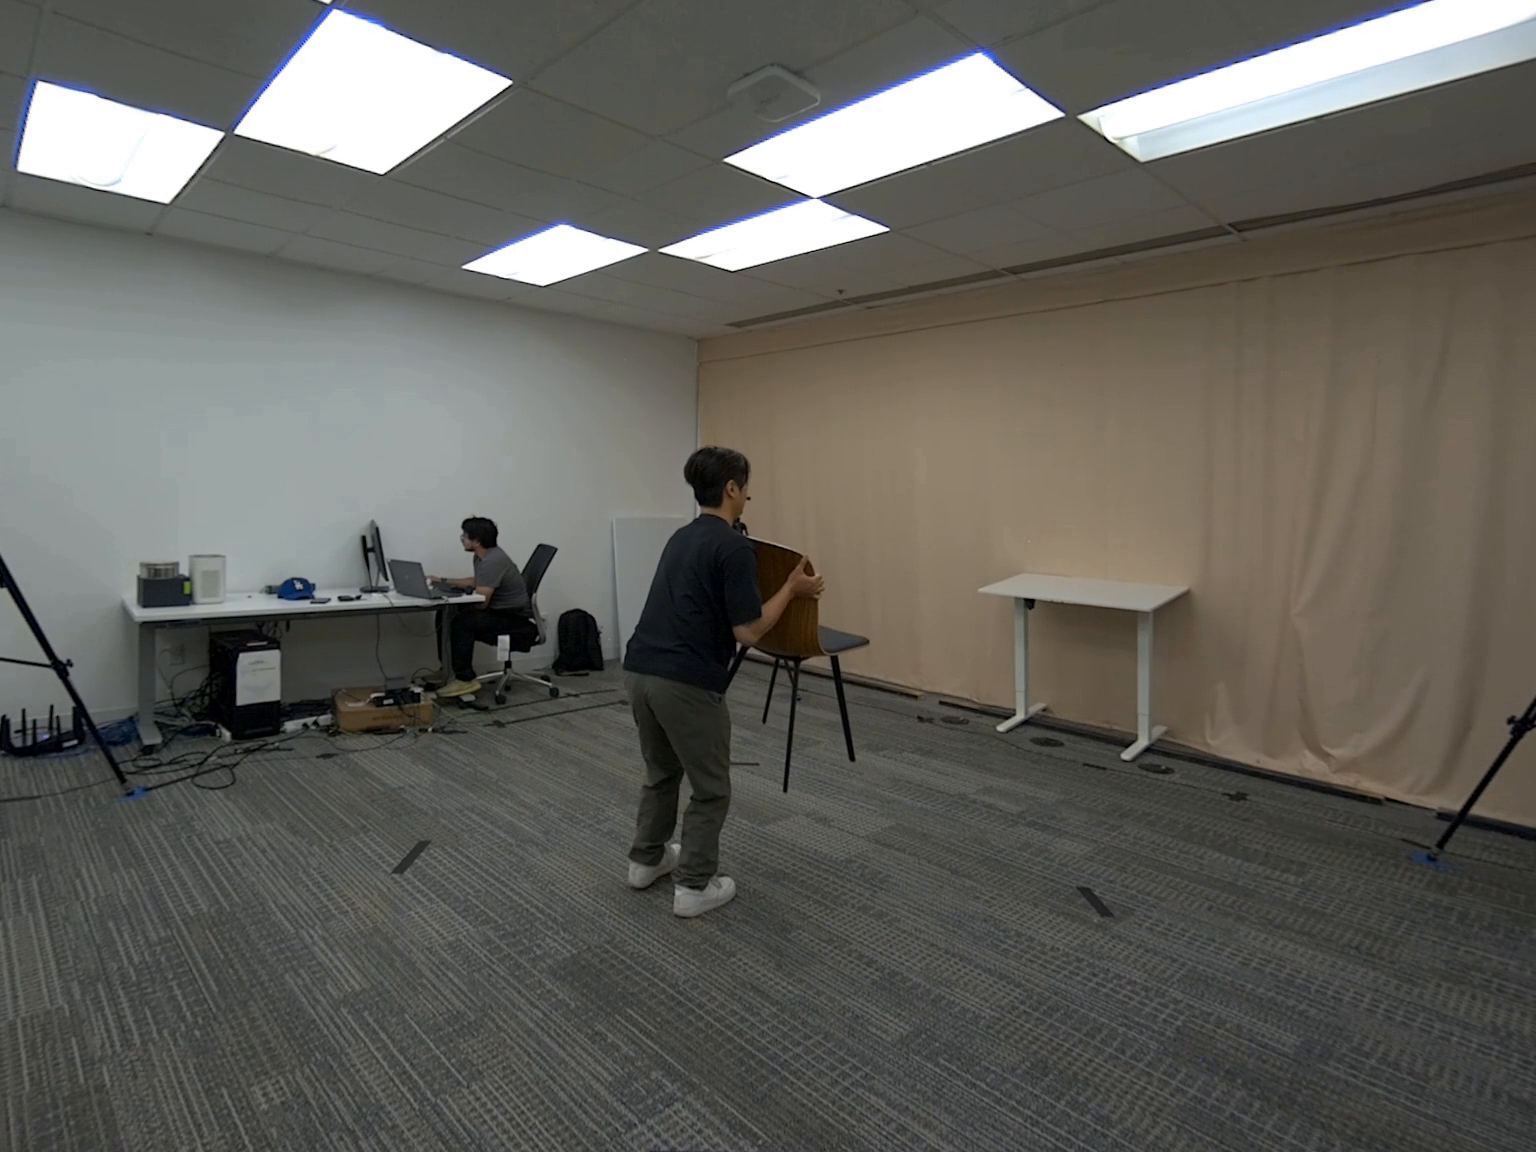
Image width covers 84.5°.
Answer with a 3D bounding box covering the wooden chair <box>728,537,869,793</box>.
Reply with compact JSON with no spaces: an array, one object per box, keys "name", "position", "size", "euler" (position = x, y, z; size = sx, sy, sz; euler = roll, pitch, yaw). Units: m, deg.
[{"name":"wooden chair","position":[0.080,0.267,3.123],"size":[0.491,0.870,0.513],"euler":[14,16,37]}]
